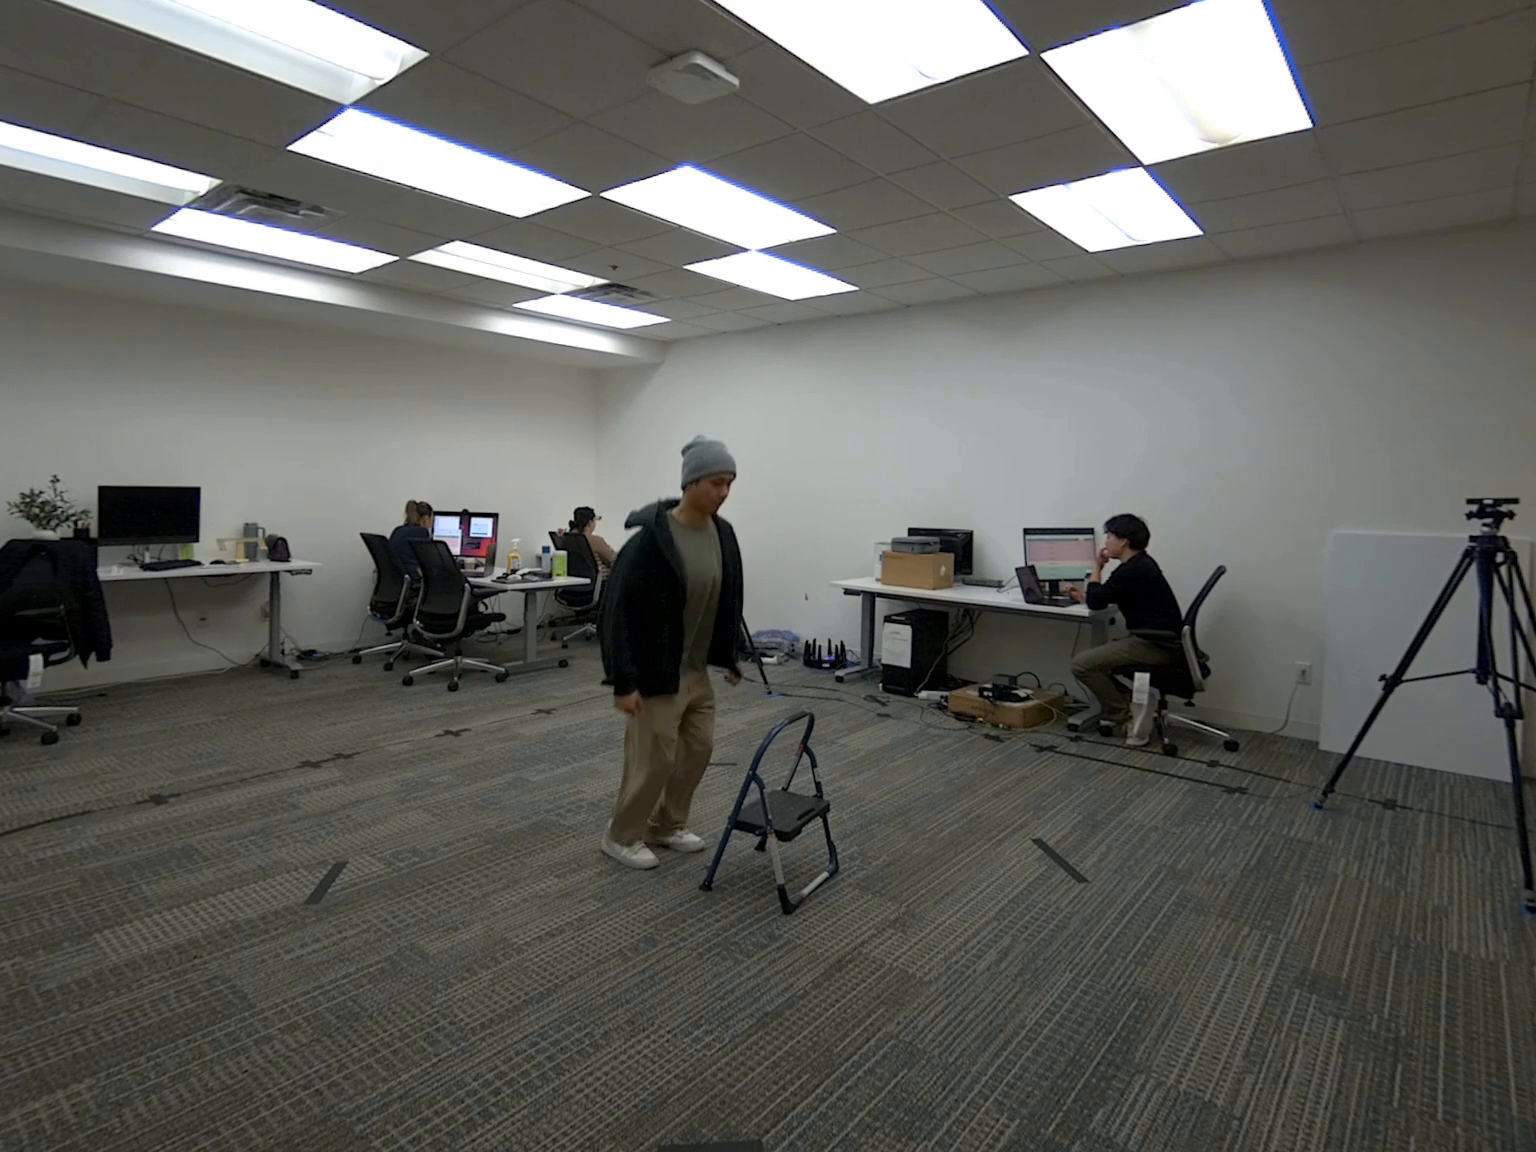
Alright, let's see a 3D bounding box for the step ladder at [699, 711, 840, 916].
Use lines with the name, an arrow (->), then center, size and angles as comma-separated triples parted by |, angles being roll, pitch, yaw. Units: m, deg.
step ladder -> 0.015, 0.777, 3.017 | 0.359, 0.604, 0.420 | 3, 4, 29
